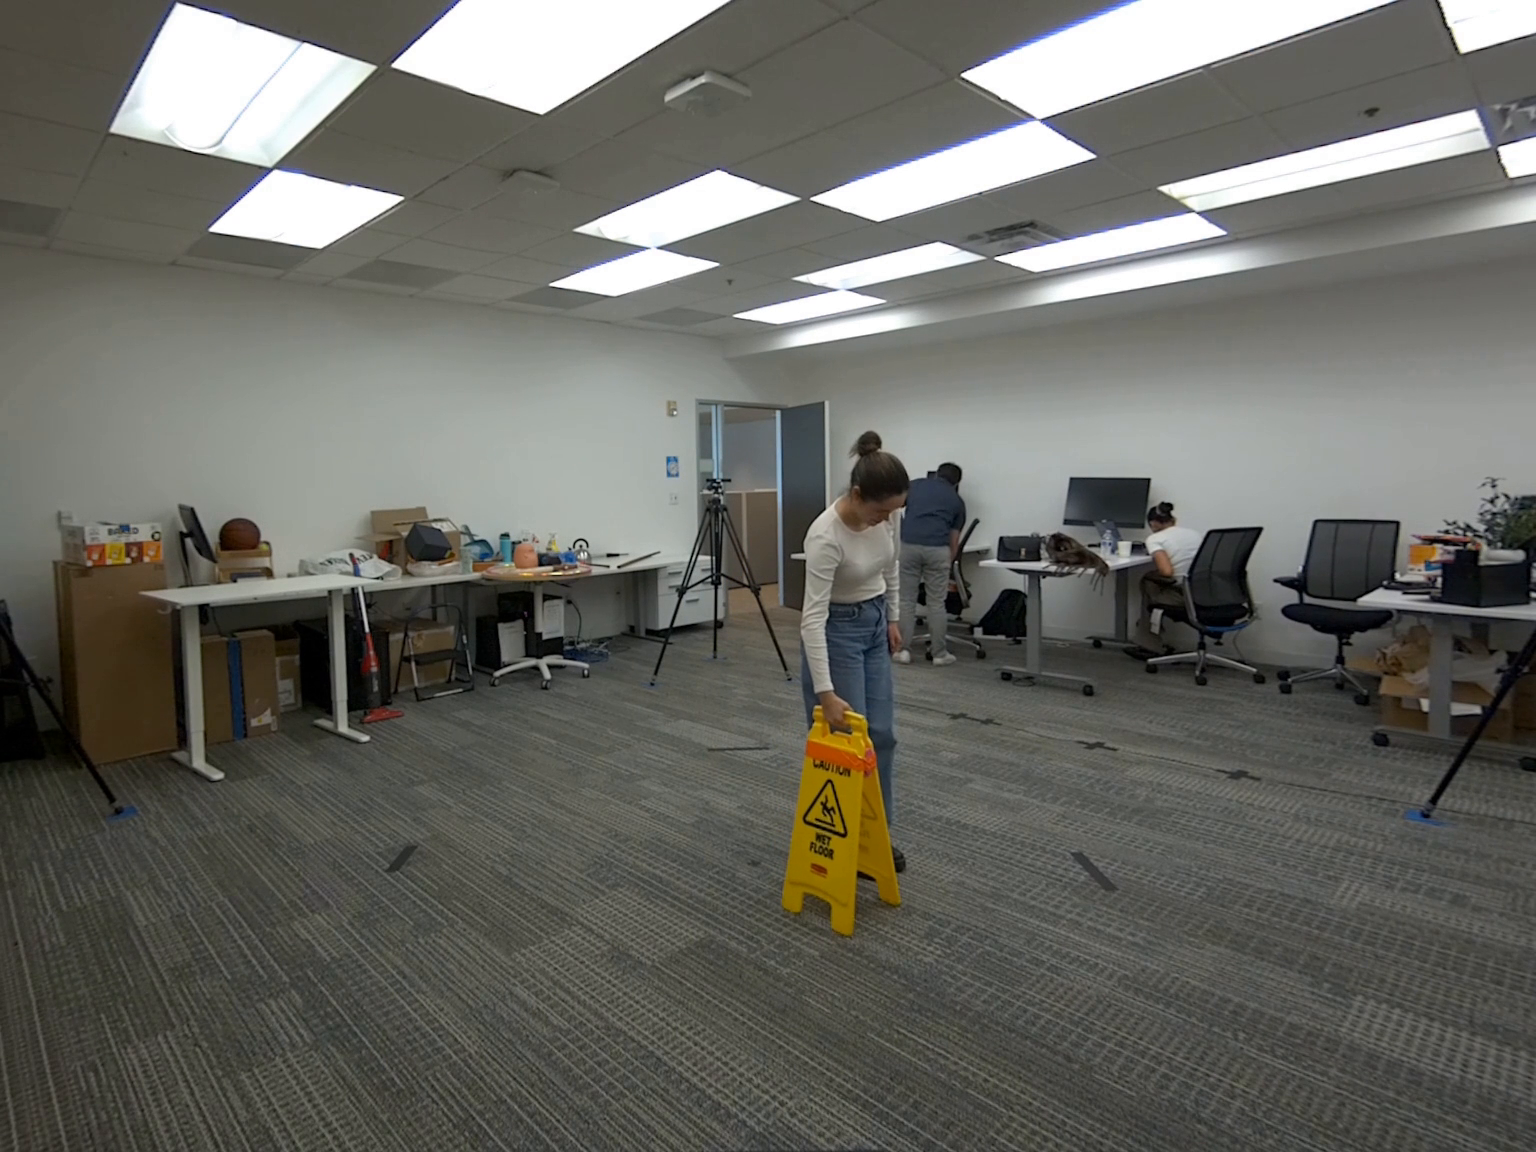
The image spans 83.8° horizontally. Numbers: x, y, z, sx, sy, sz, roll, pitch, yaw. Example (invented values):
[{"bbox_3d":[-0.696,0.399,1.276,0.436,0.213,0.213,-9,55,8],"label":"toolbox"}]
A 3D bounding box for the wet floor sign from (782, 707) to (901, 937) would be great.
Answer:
[{"bbox_3d":[0.235,0.756,2.763,0.291,0.644,0.282,2,5,44],"label":"wet floor sign"}]
